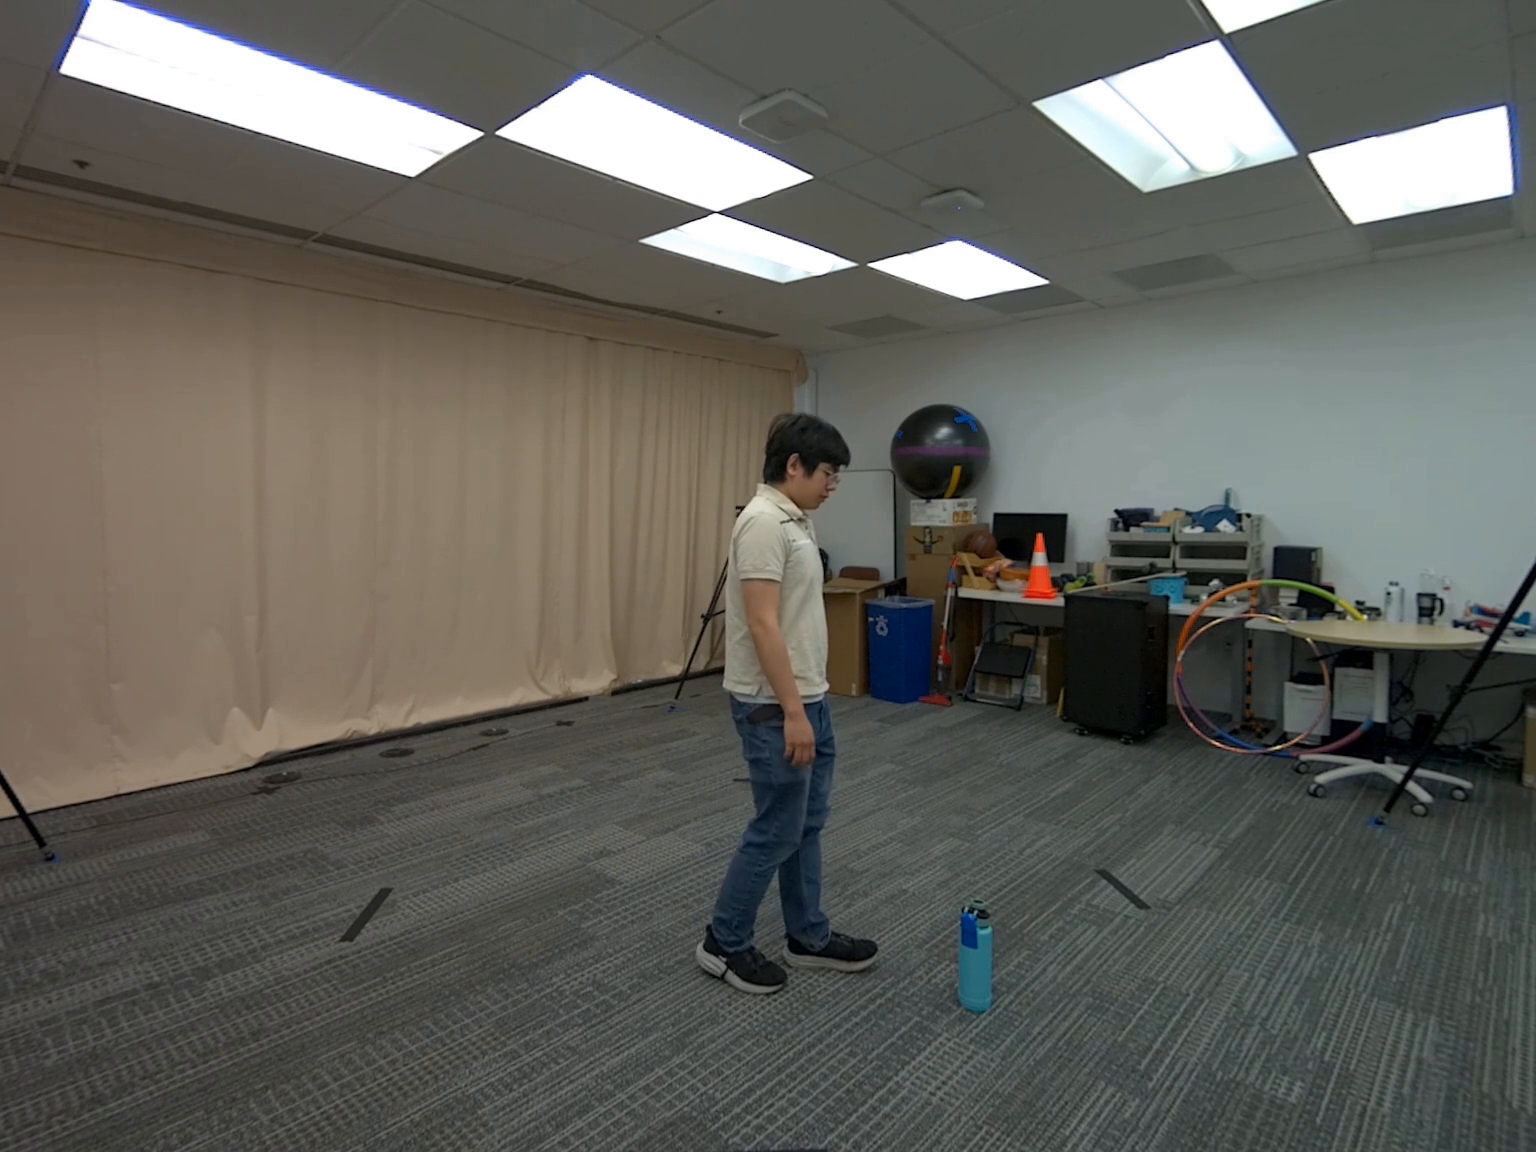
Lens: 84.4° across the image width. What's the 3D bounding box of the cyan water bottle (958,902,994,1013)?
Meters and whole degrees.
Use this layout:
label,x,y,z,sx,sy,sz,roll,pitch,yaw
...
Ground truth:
label,x,y,z,sx,sy,sz,roll,pitch,yaw
cyan water bottle,0.587,1.058,2.339,0.092,0.283,0.092,0,3,-2
